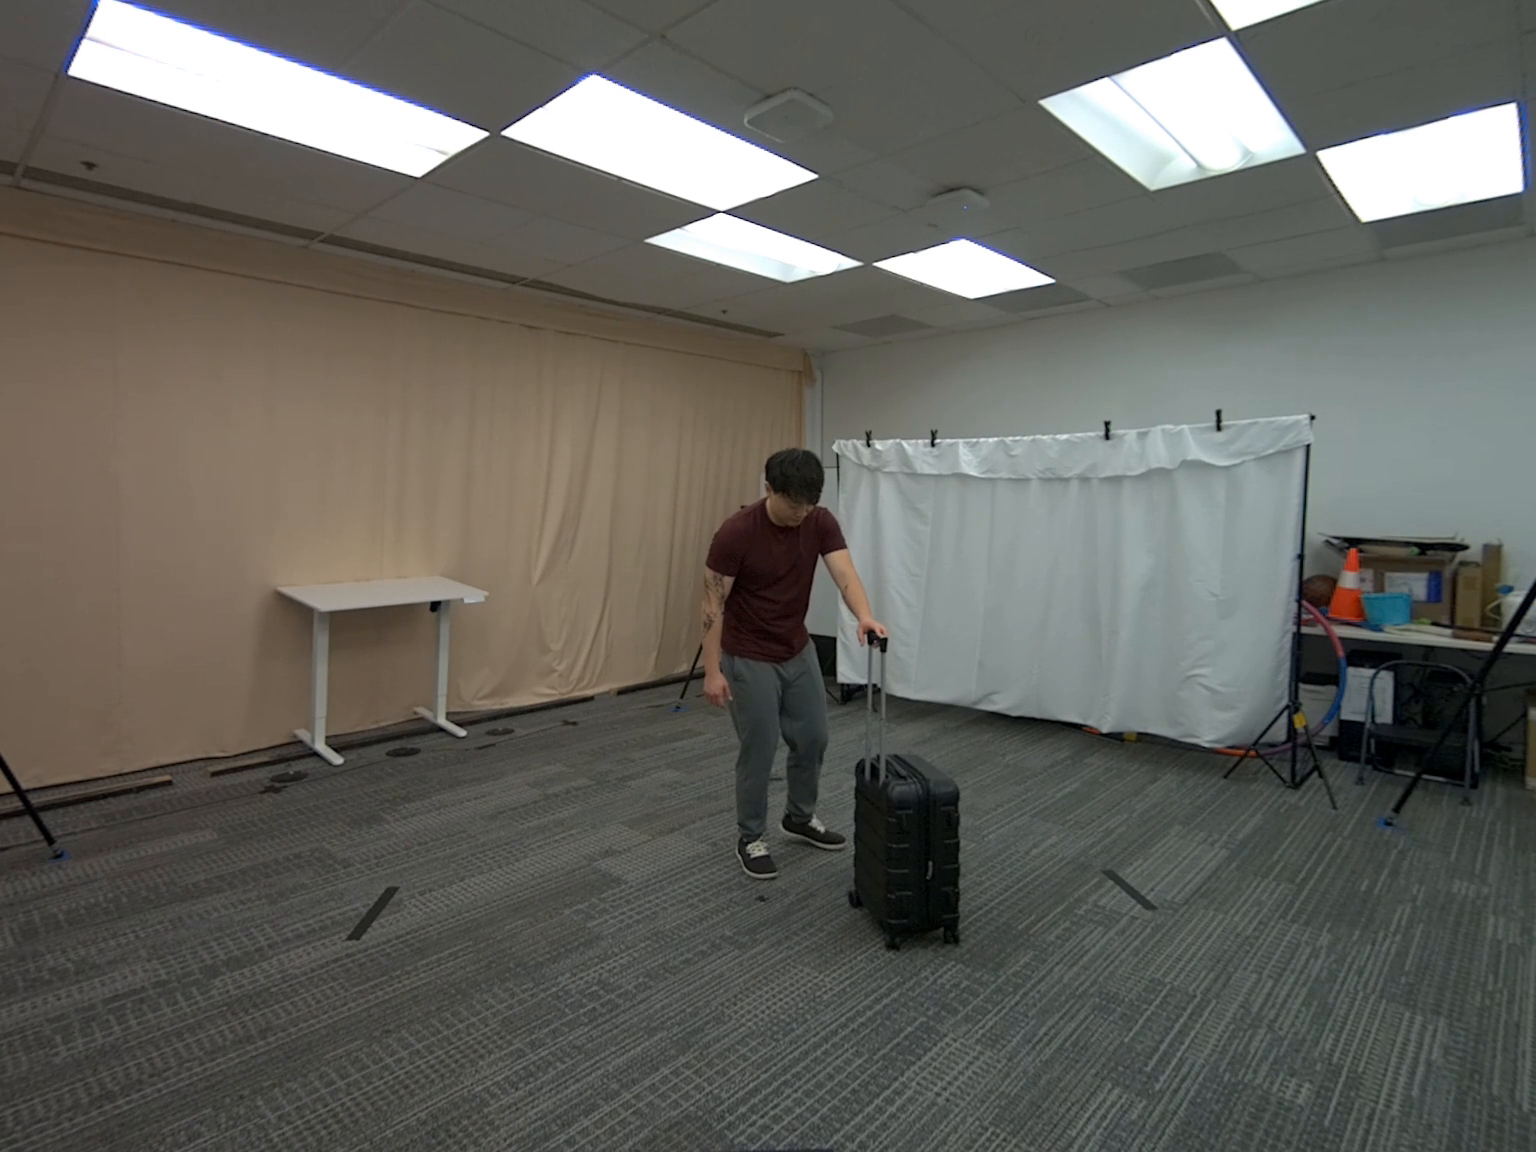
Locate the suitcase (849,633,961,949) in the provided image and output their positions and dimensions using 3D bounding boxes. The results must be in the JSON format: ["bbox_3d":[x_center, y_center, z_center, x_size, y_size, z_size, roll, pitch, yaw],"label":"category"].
[{"bbox_3d":[0.462,0.683,2.761,0.254,0.976,0.390,1,5,-13],"label":"suitcase"}]
